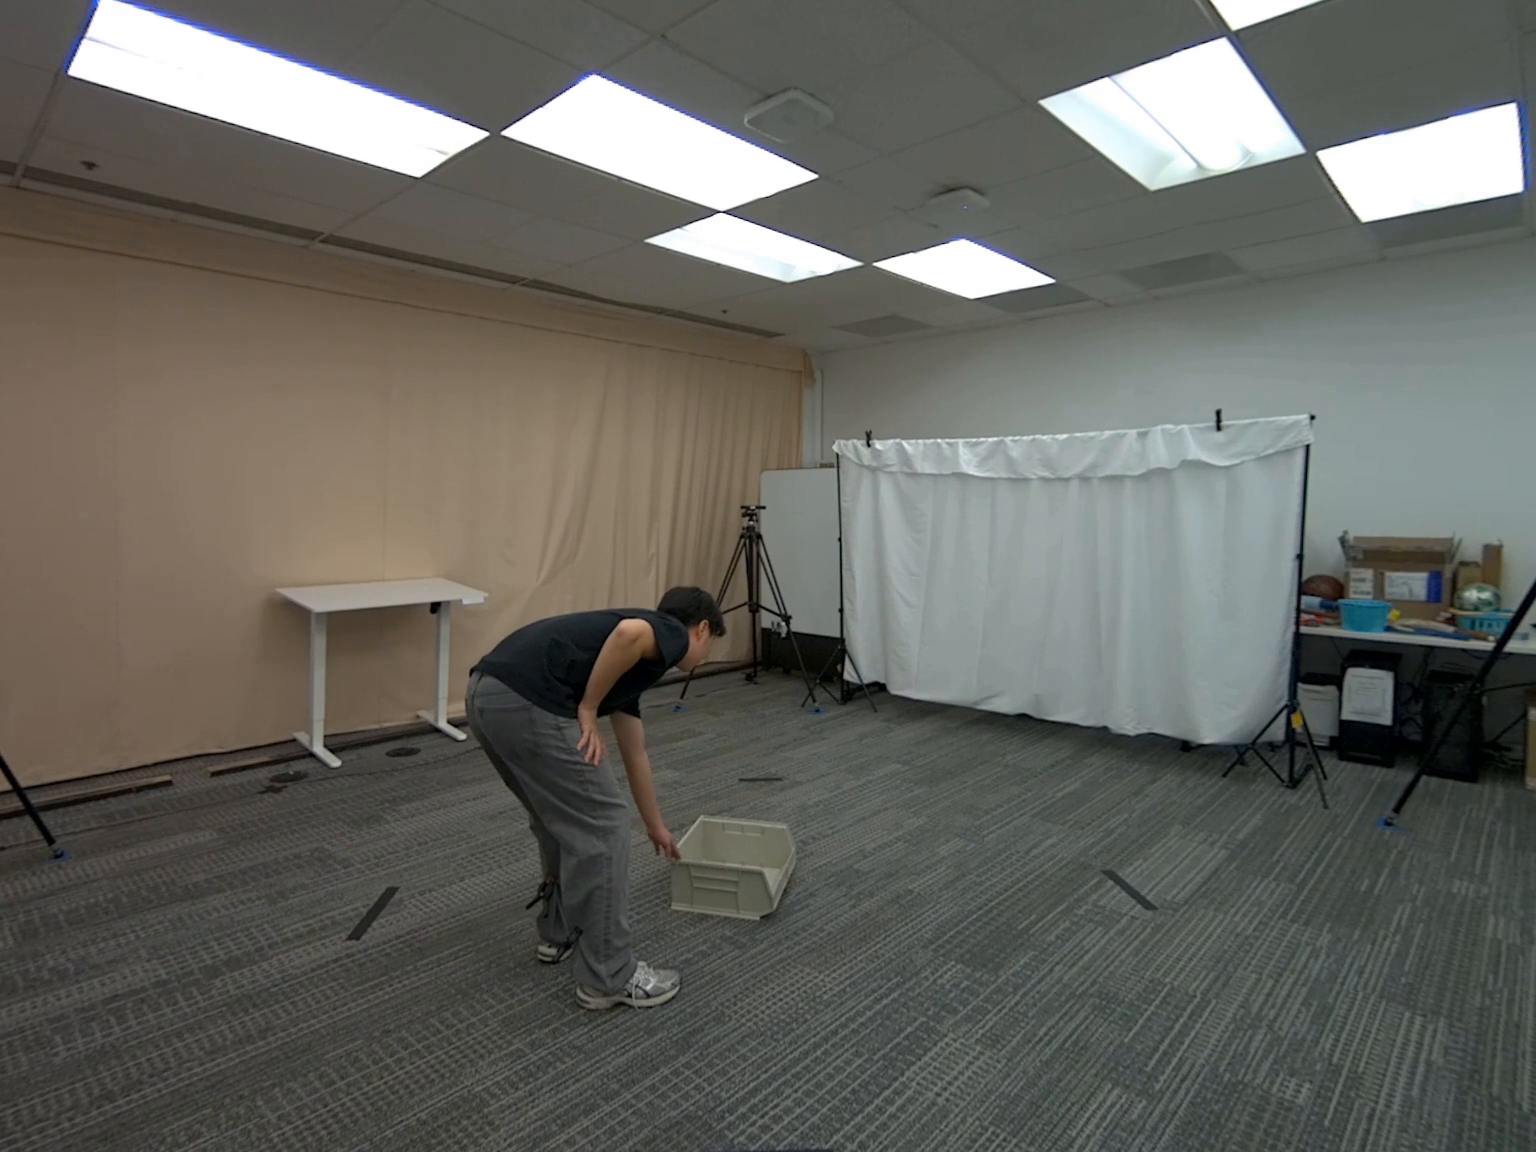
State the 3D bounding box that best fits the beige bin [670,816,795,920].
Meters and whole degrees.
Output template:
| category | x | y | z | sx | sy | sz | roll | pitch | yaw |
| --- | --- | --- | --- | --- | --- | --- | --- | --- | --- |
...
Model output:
| category | x | y | z | sx | sy | sz | roll | pitch | yaw |
| --- | --- | --- | --- | --- | --- | --- | --- | --- | --- |
| beige bin | -0.118 | 1.050 | 3.054 | 0.383 | 0.188 | 0.417 | 0 | 5 | 13 |
